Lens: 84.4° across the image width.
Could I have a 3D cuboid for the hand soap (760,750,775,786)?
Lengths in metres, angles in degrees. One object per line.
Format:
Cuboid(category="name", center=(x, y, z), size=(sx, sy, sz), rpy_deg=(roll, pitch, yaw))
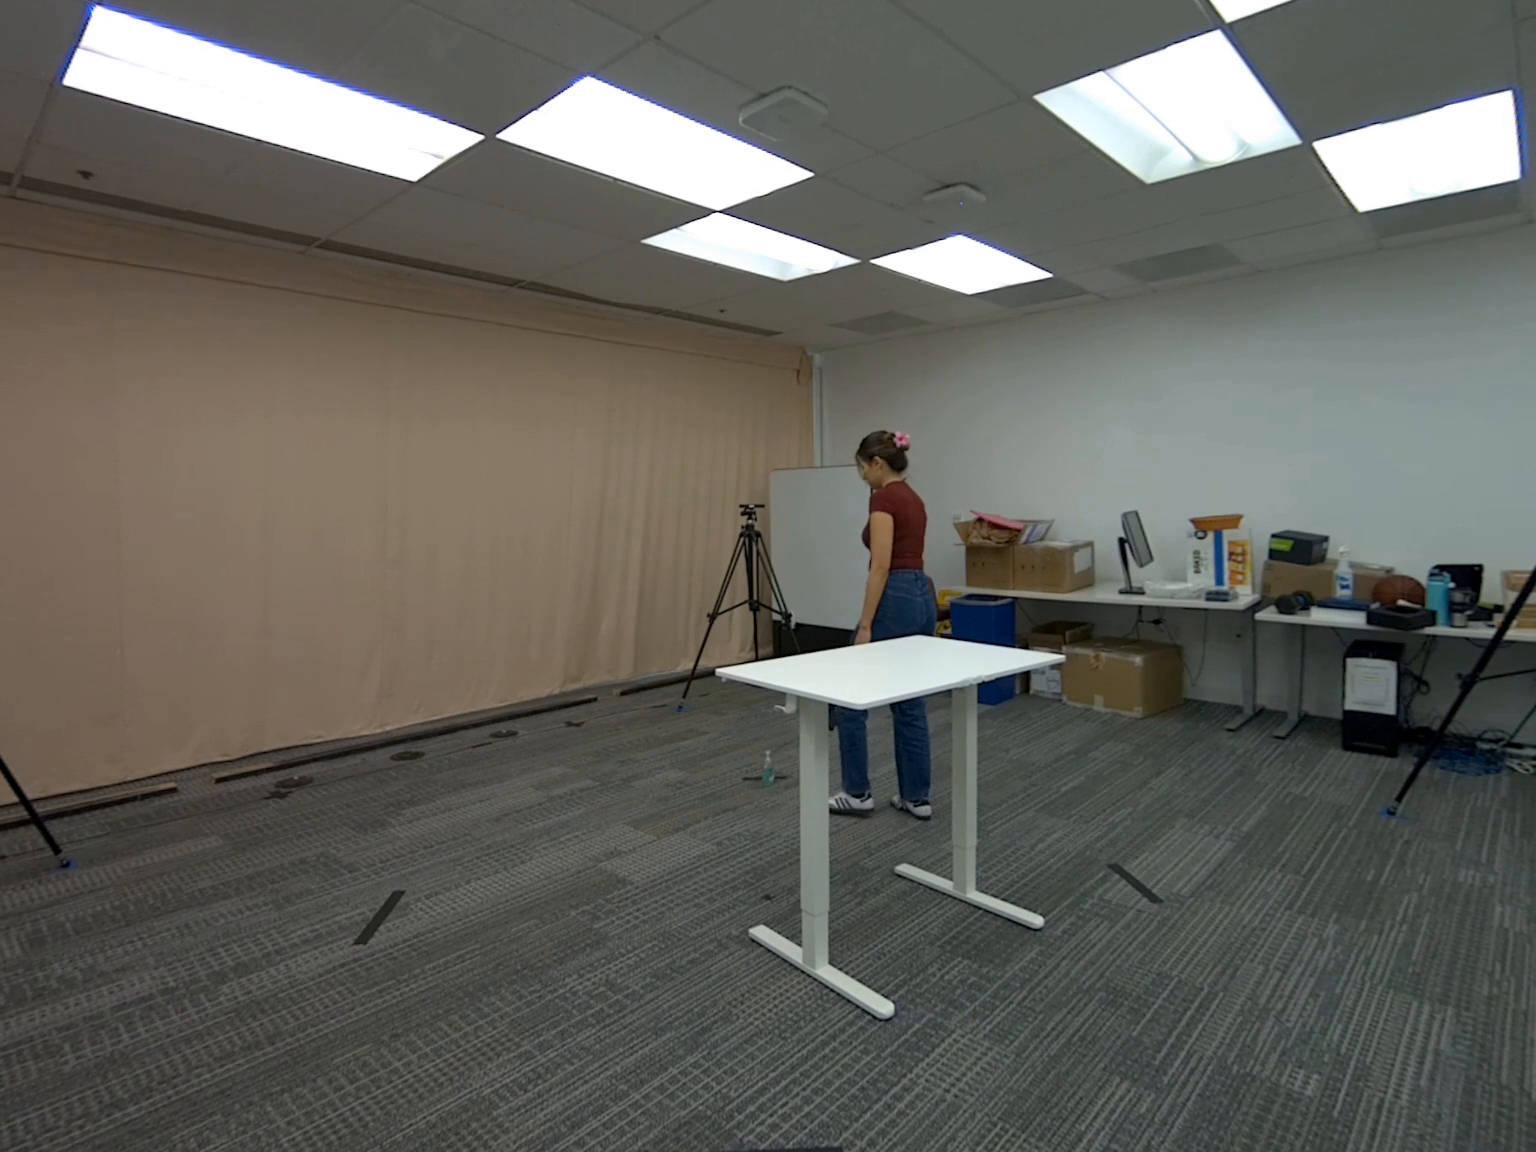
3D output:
Cuboid(category="hand soap", center=(0.002, 0.958, 4.200), size=(0.044, 0.168, 0.083), rpy_deg=(-3, 2, 23))
